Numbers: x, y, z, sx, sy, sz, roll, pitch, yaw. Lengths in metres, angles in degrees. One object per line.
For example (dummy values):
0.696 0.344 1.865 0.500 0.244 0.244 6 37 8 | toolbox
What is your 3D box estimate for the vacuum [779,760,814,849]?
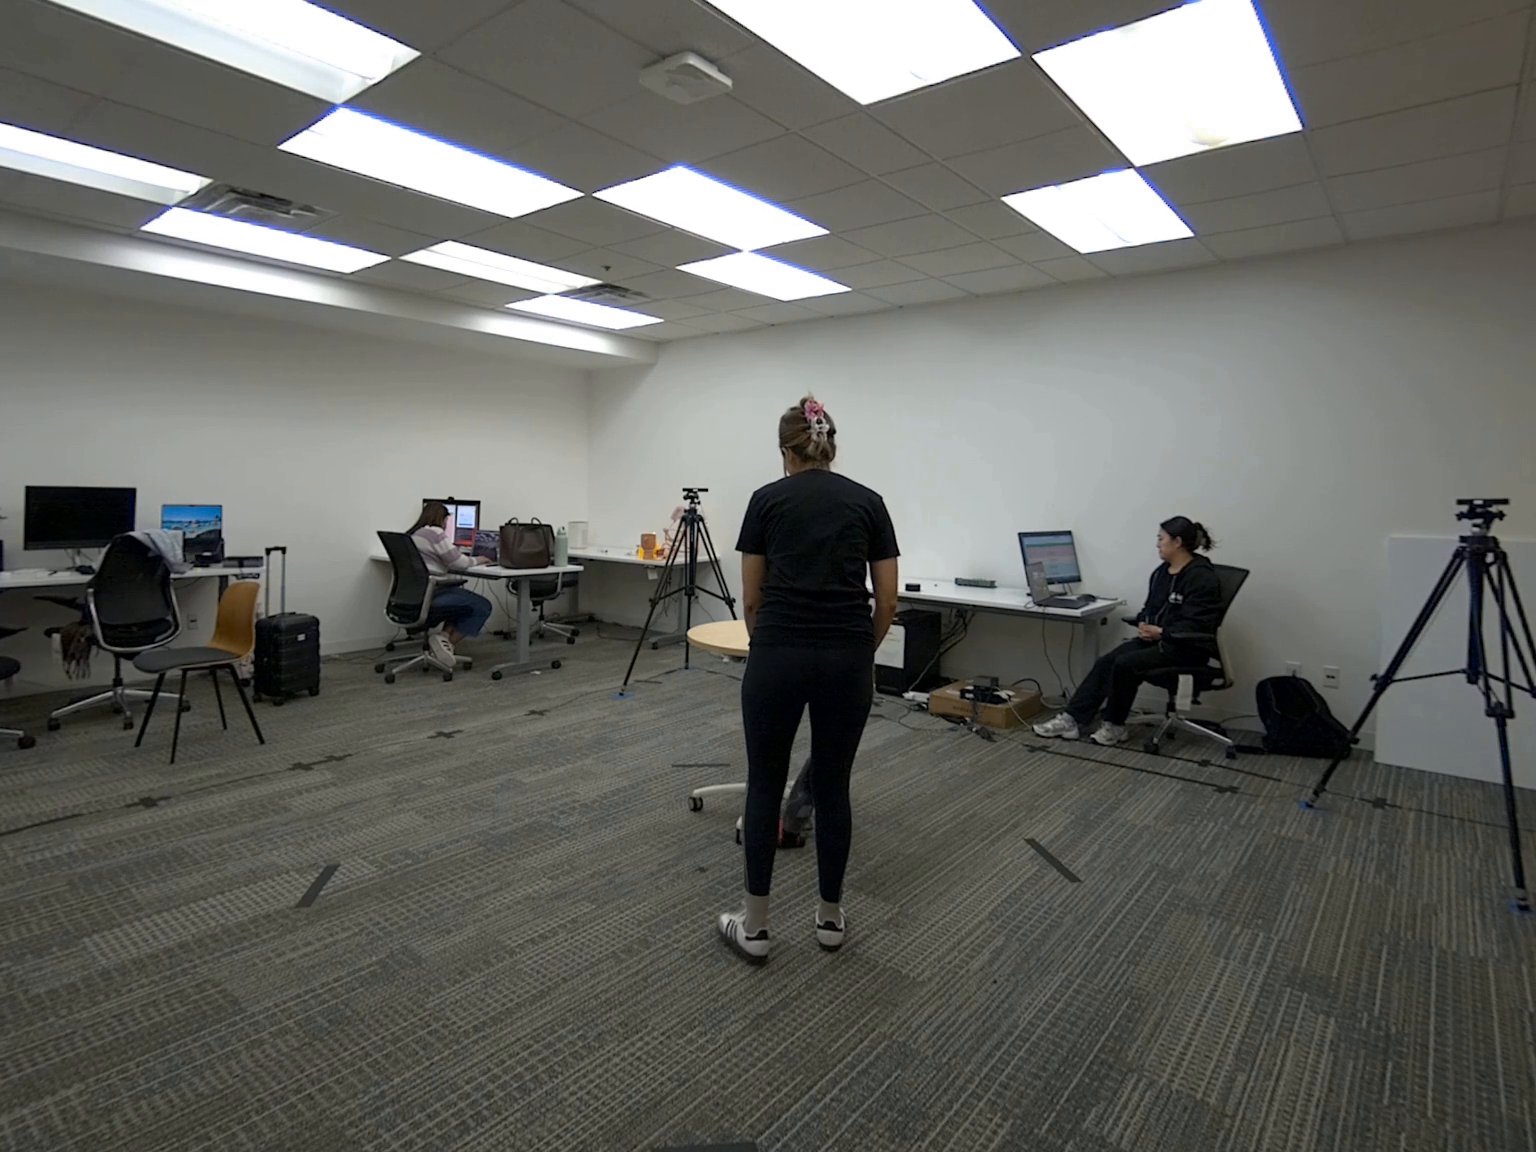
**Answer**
0.152 0.677 3.000 0.248 0.149 1.029 -4 -40 -19 | vacuum
